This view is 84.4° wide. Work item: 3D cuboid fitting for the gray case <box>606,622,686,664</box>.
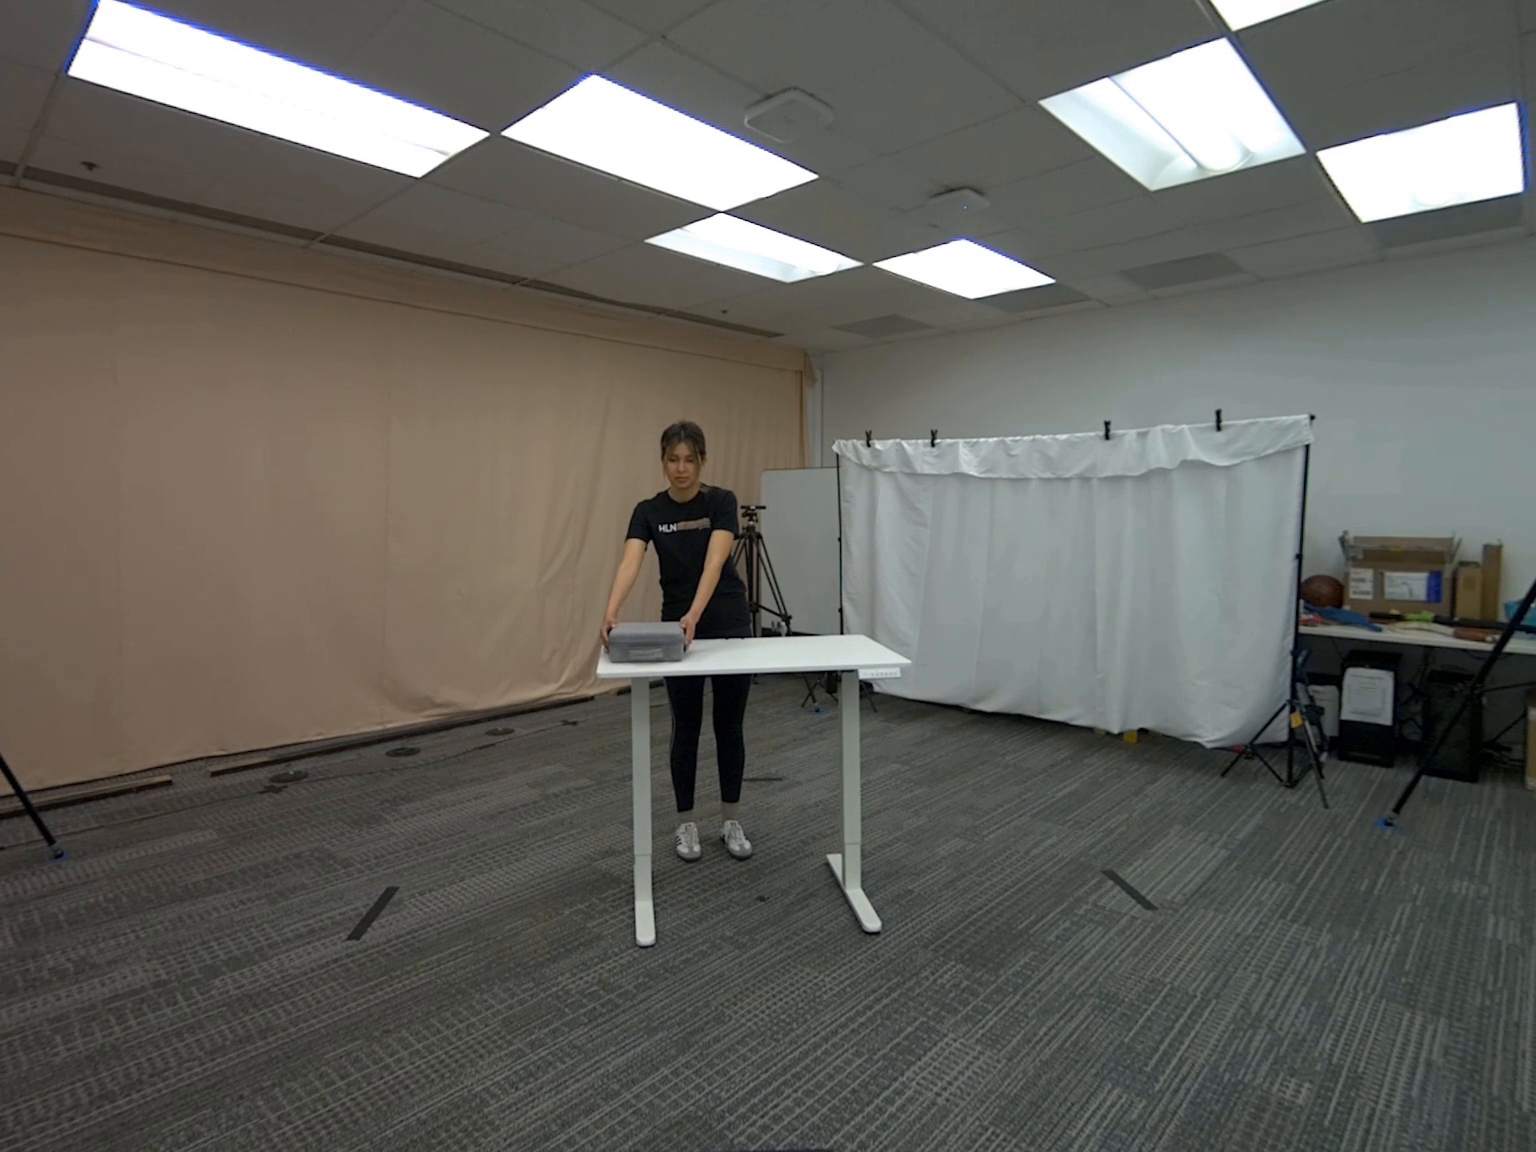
[{"bbox_3d":[-0.406,0.226,2.872,0.256,0.104,0.262,-1,5,-3],"label":"gray case"}]
